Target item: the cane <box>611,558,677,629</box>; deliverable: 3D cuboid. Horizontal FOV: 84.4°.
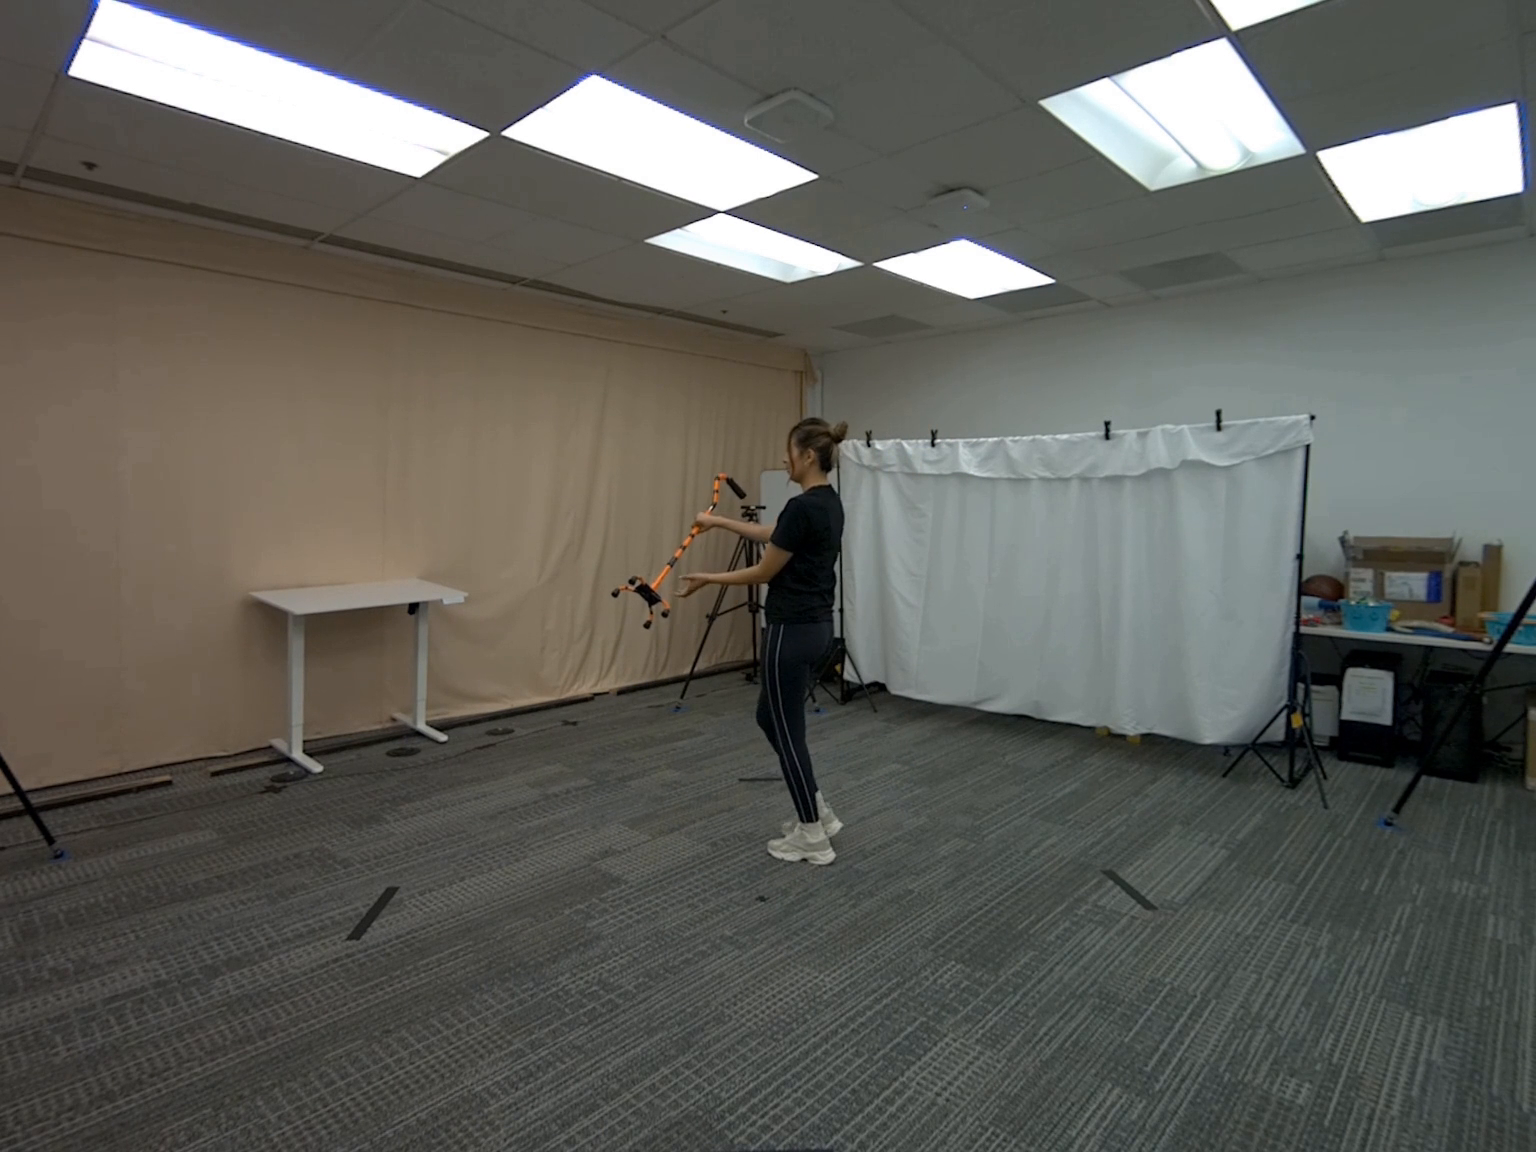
[{"bbox_3d":[-0.329,-0.161,3.539,0.154,0.204,0.906,-35,17,41],"label":"cane"}]
